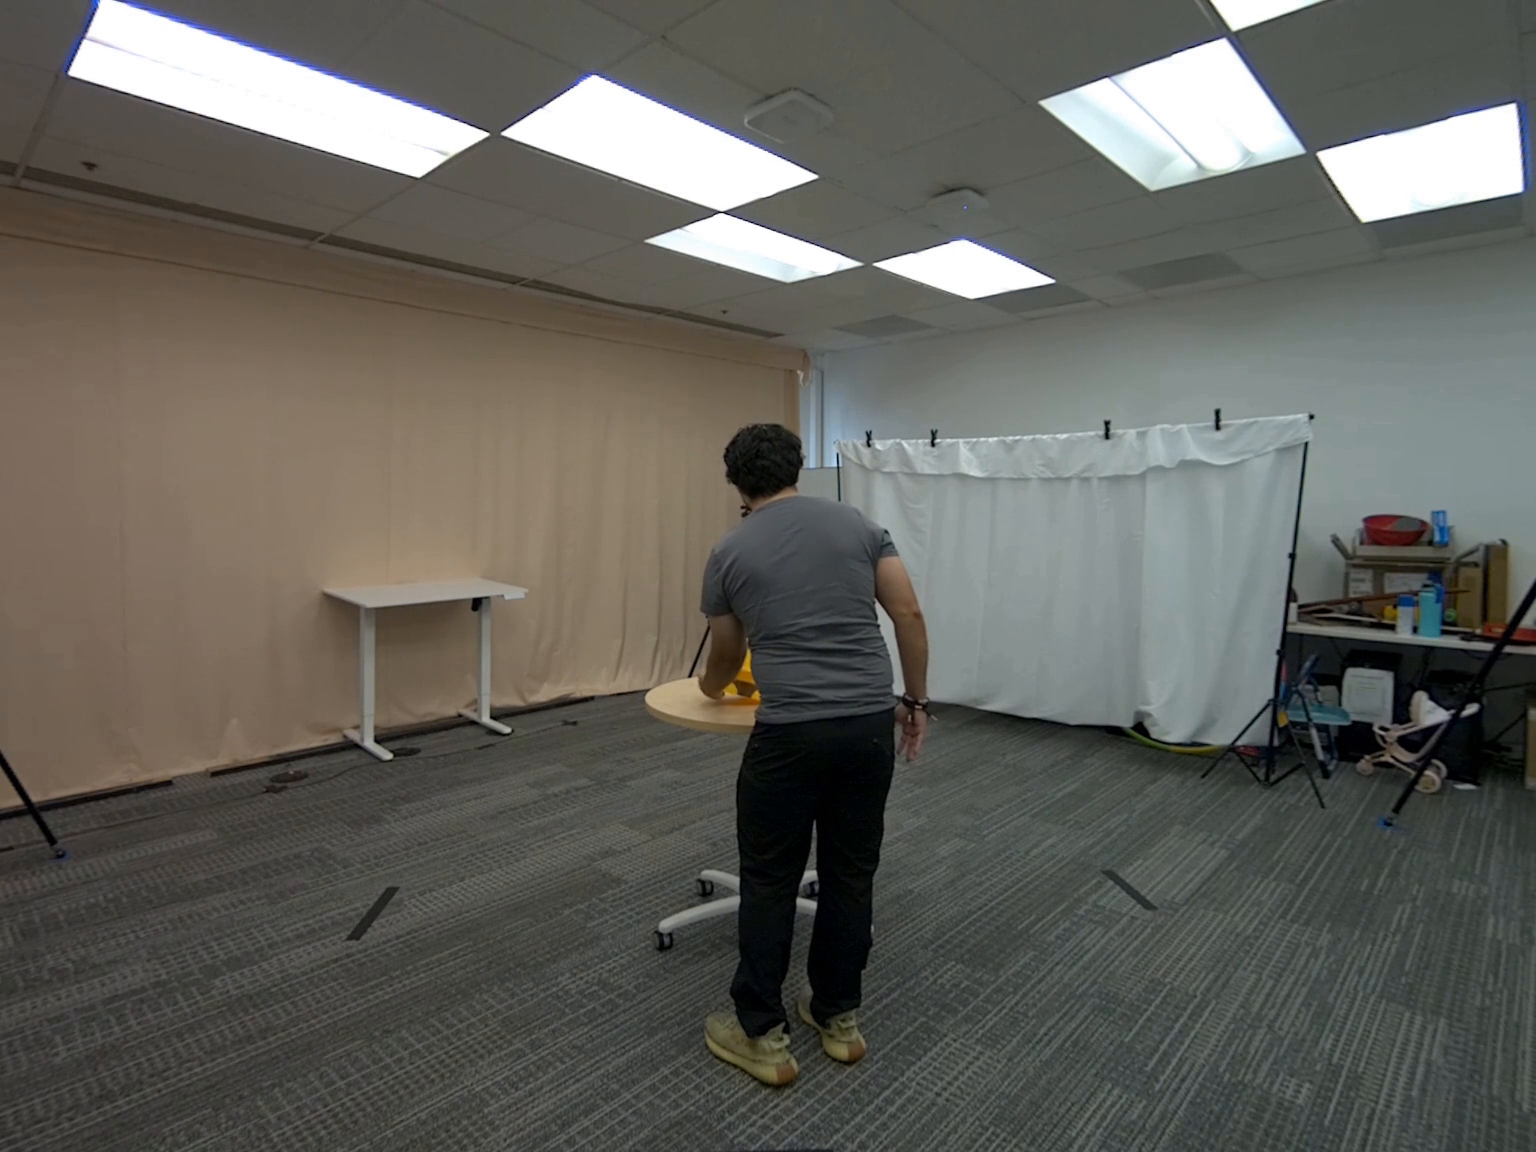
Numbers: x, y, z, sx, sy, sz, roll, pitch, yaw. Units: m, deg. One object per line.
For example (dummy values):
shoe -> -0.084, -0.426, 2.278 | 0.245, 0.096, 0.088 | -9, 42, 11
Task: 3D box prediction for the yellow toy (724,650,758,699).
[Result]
yellow toy -> -0.055, 0.259, 2.618 | 0.201, 0.231, 0.197 | 14, -2, -18
